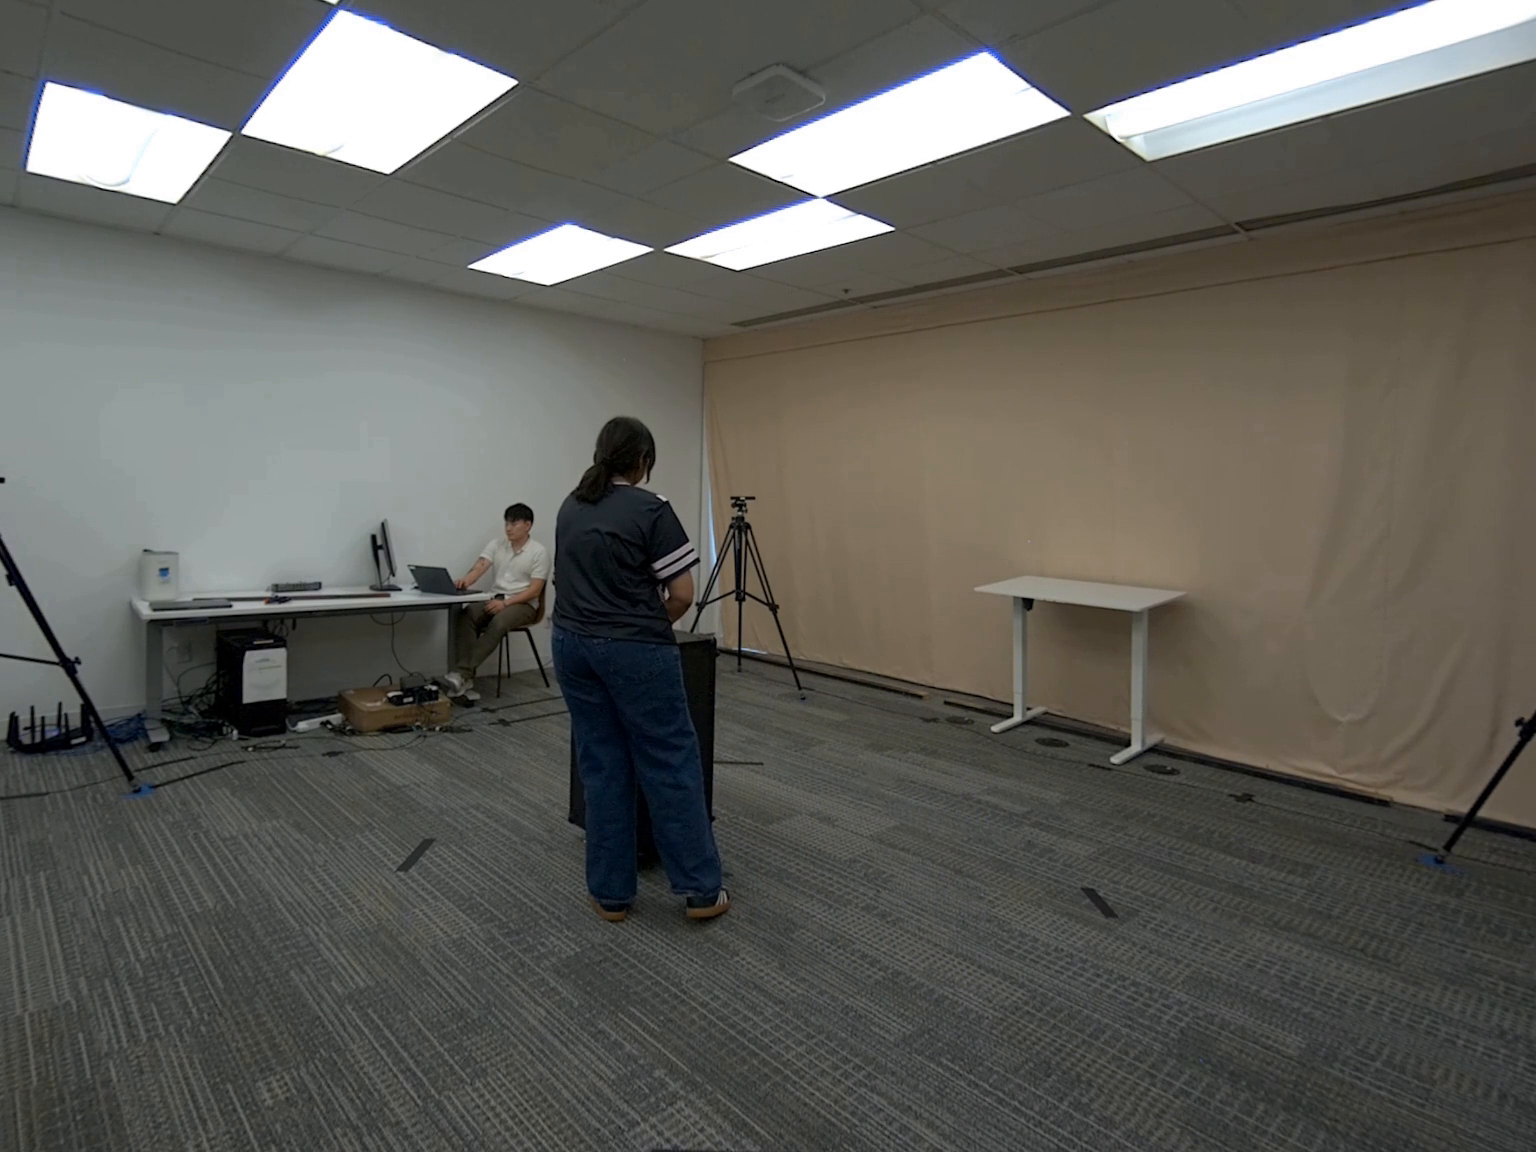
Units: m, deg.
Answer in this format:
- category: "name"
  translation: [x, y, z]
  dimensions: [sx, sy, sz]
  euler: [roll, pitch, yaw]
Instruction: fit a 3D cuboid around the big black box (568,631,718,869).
- category: "big black box"
  translation: [-0.511, 0.657, 3.326]
  dimensions: [0.376, 0.866, 0.537]
  euler: [-1, 5, -43]
